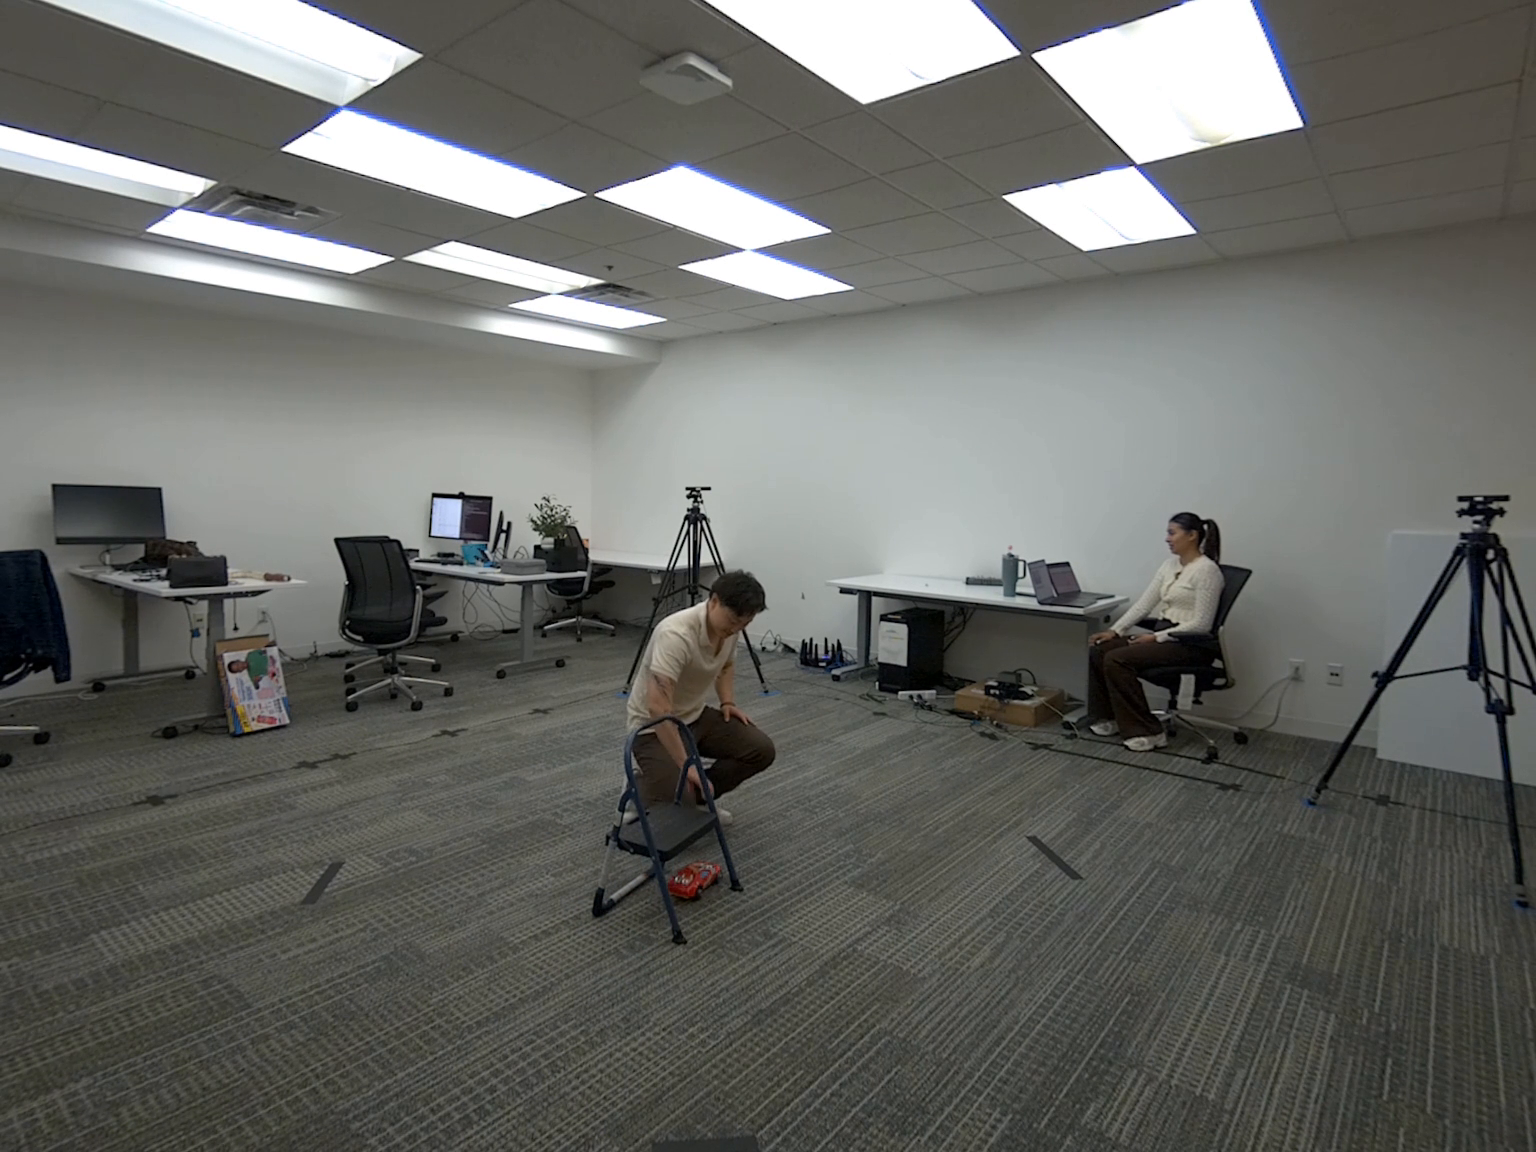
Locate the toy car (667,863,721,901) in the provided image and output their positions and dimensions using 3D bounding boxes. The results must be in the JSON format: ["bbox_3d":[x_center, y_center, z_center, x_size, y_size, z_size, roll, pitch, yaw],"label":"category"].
[{"bbox_3d":[-0.272,1.050,2.934,0.134,0.083,0.246,4,-5,26],"label":"toy car"}]
